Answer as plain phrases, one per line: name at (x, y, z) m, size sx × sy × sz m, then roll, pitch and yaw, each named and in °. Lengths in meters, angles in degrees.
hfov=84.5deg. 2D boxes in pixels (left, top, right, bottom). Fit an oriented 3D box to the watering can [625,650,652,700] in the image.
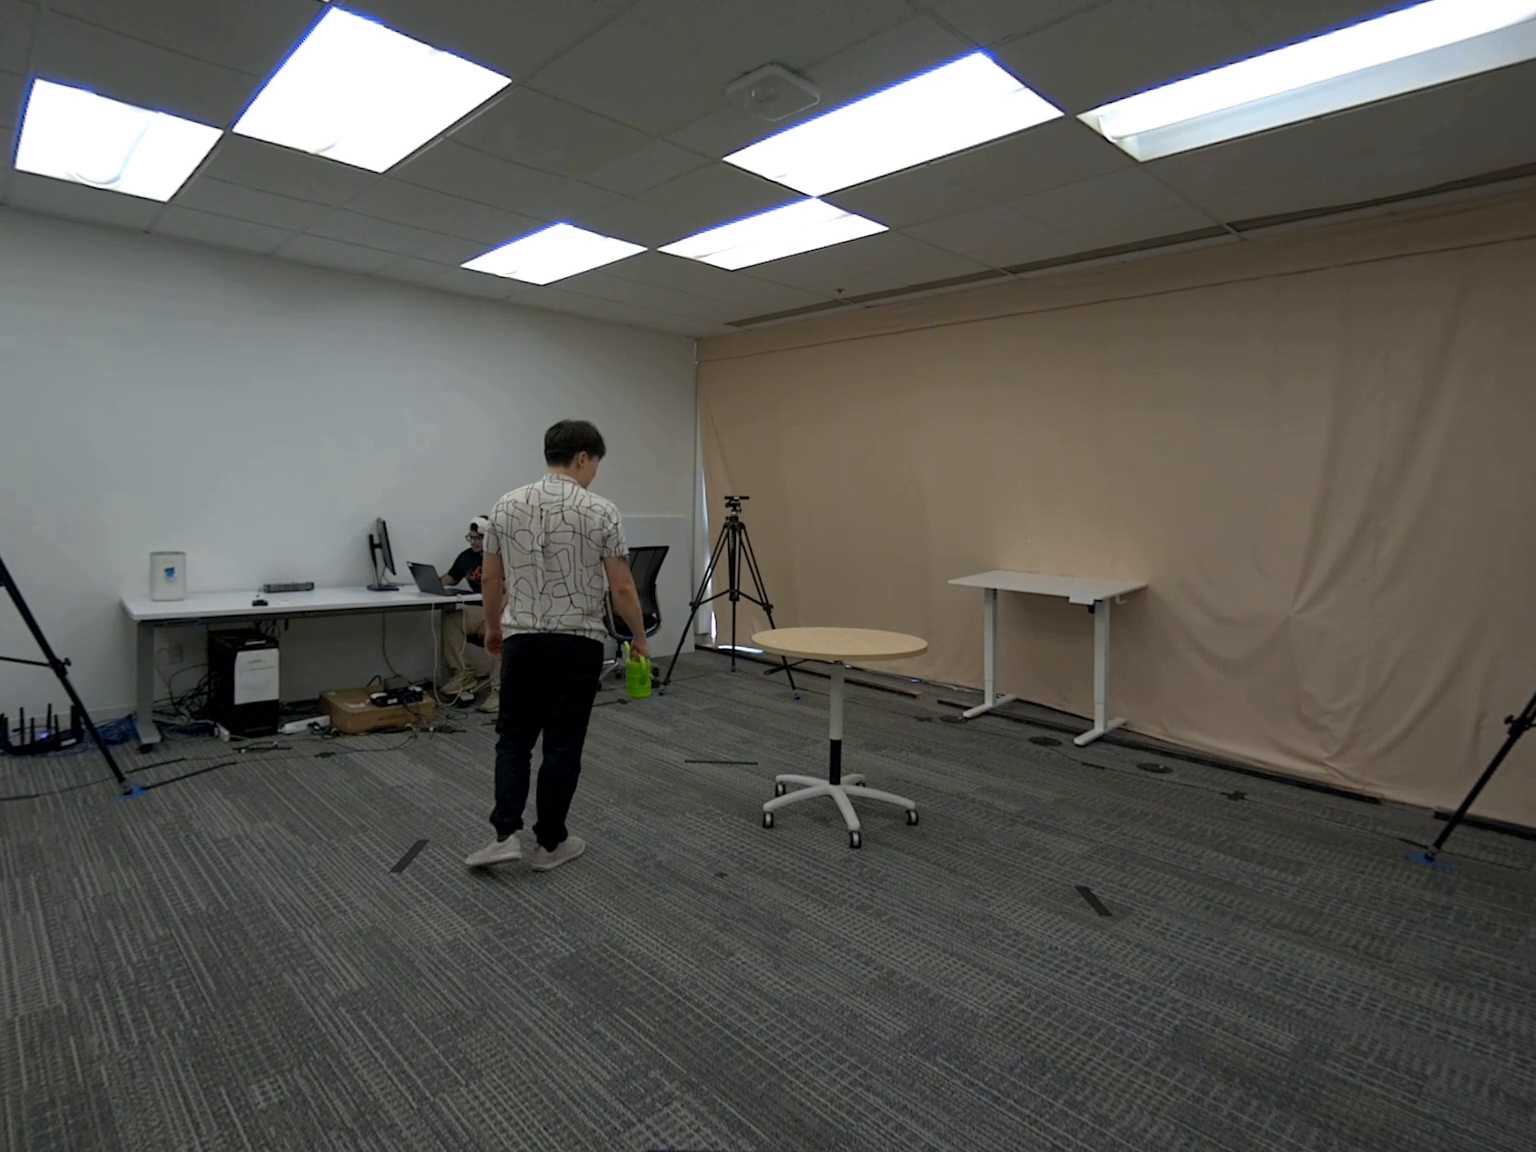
watering can at (-0.523, 0.369, 3.283) m, size 0.097 × 0.176 × 0.281 m, roll 0°, pitch 8°, yaw -10°
